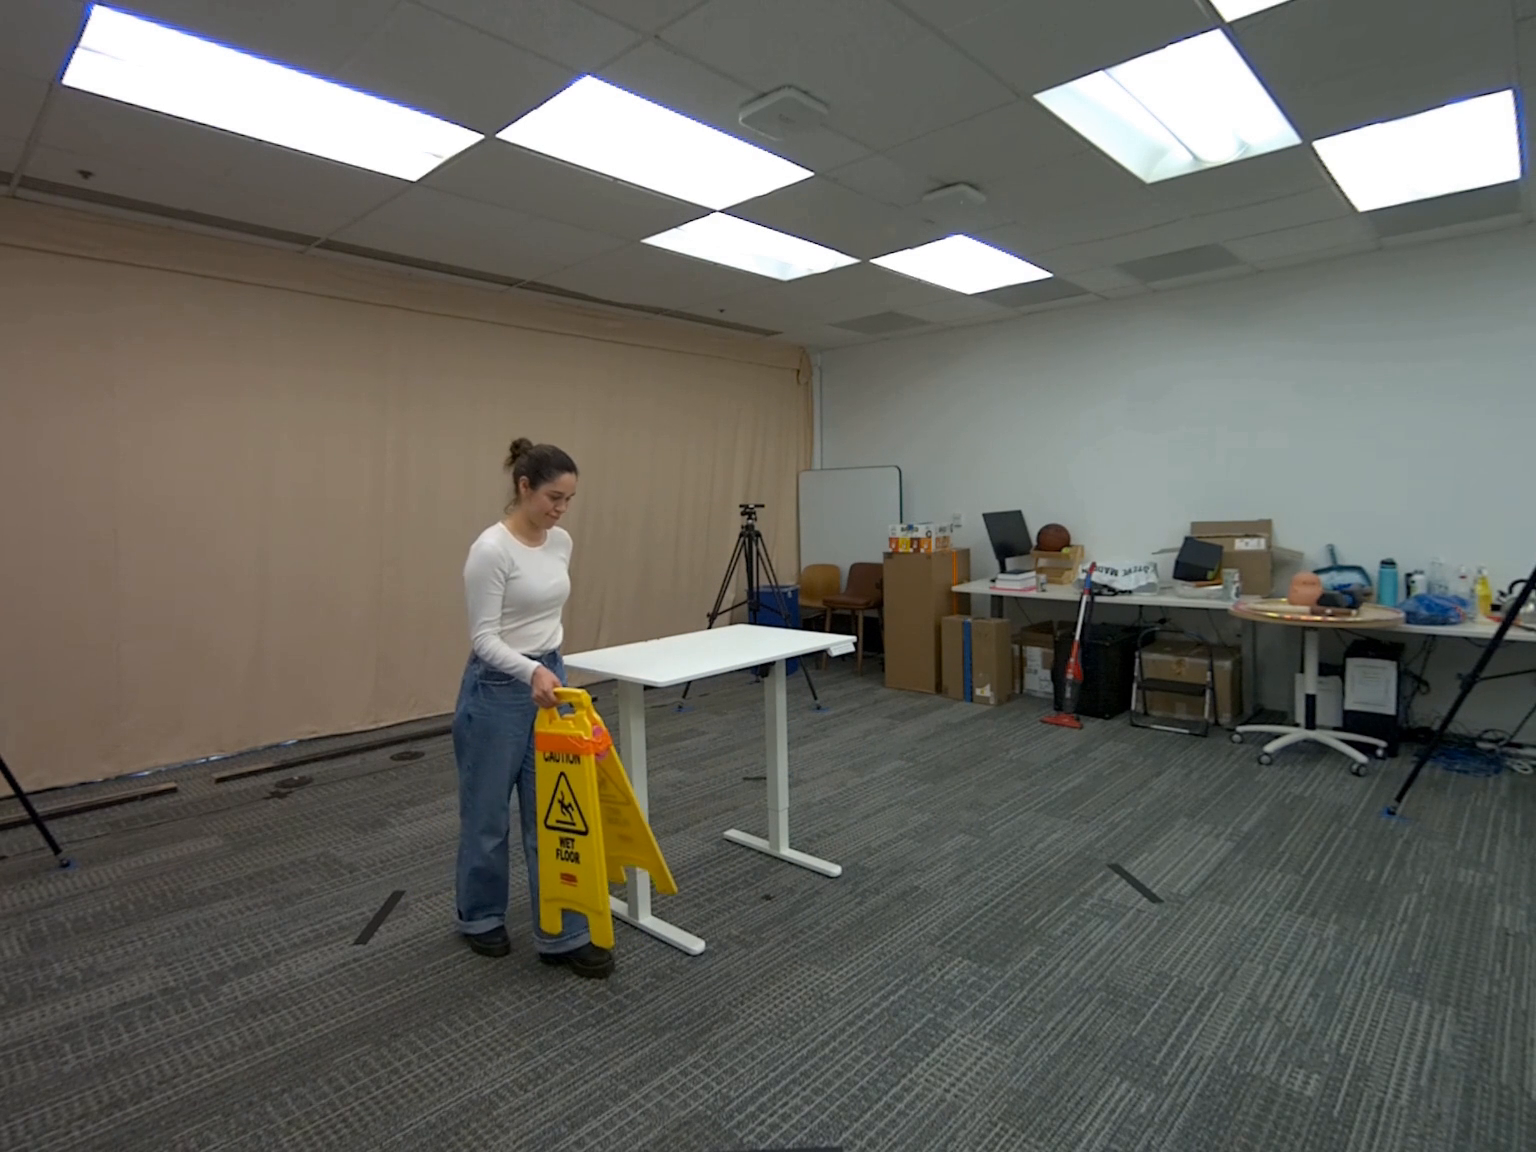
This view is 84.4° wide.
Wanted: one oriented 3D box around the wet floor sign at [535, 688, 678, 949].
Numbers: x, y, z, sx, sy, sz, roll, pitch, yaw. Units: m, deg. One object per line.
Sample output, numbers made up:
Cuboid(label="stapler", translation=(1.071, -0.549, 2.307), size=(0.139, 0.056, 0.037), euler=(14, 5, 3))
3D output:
Cuboid(label="wet floor sign", translation=(-0.496, 0.624, 2.300), size=(0.290, 0.643, 0.283), euler=(-8, 6, 36))
